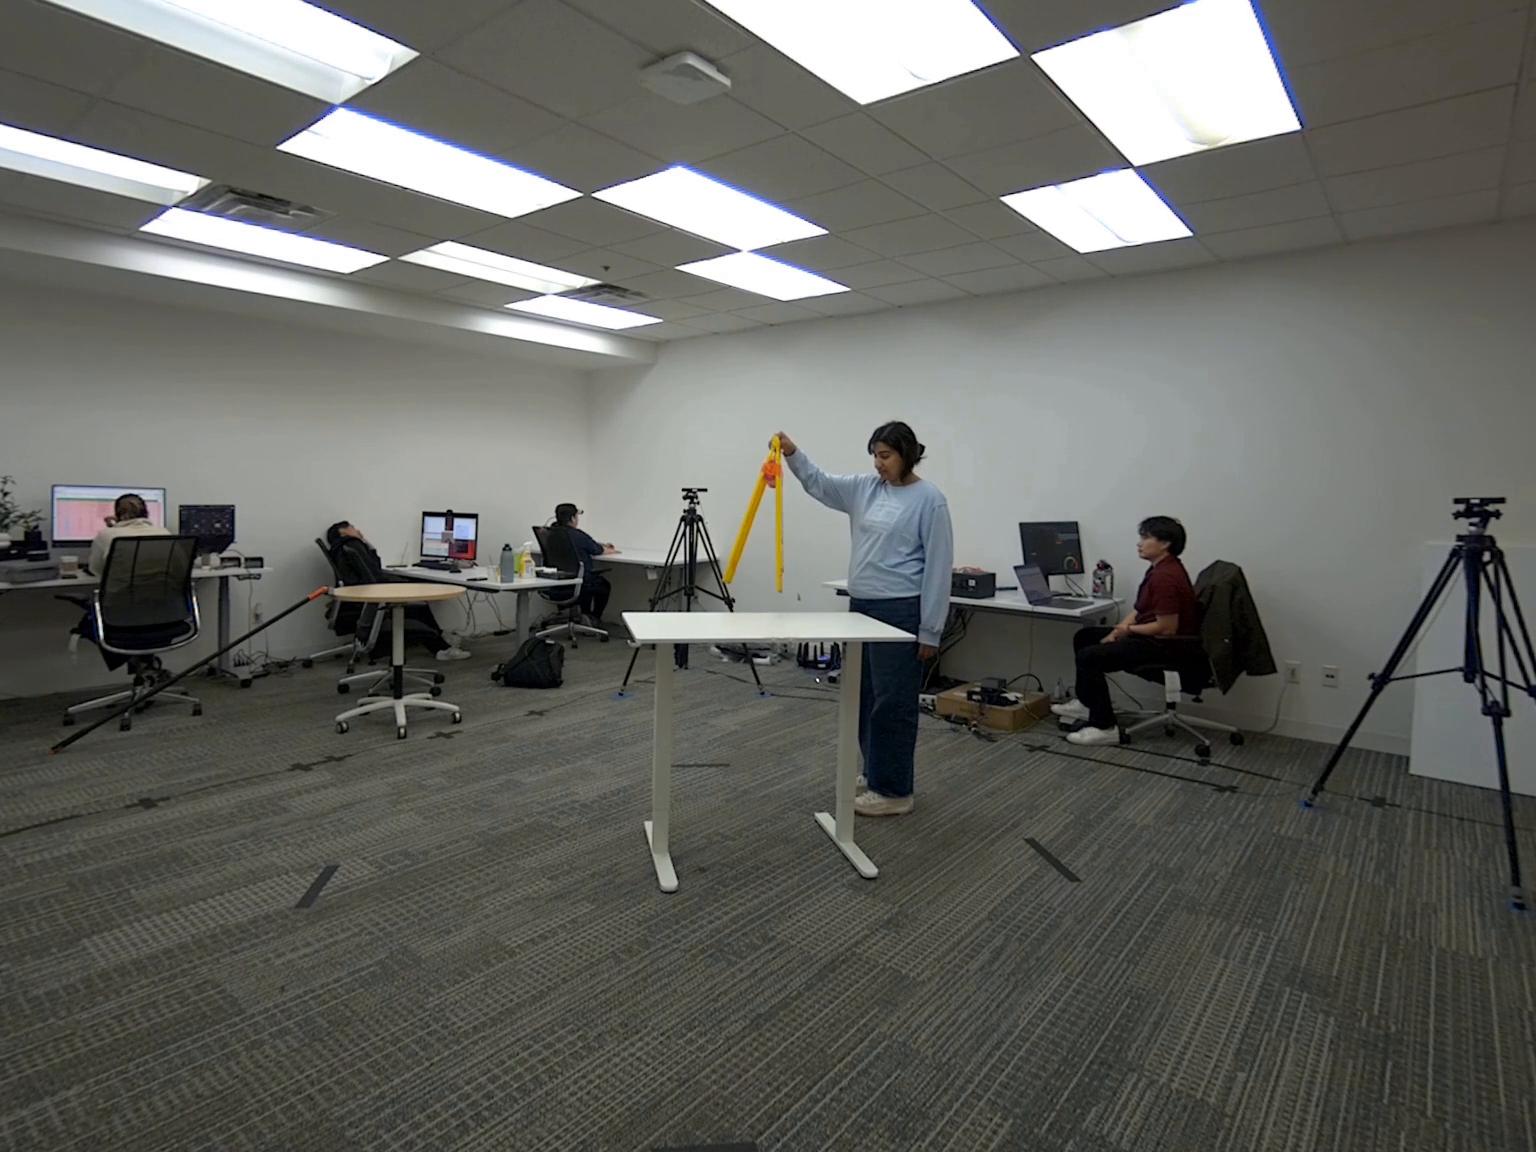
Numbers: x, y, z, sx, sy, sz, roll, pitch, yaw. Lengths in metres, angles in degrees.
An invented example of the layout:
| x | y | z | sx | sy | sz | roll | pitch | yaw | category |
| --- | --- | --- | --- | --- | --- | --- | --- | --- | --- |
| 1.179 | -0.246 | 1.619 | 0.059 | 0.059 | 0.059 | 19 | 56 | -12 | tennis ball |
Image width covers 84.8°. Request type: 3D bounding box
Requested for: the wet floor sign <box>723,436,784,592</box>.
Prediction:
| x | y | z | sx | sy | sz | roll | pitch | yaw | category |
| --- | --- | --- | --- | --- | --- | --- | --- | --- | --- |
| -0.013 | -0.272 | 3.695 | 0.292 | 0.649 | 0.278 | 8 | -6 | 7 | wet floor sign |
